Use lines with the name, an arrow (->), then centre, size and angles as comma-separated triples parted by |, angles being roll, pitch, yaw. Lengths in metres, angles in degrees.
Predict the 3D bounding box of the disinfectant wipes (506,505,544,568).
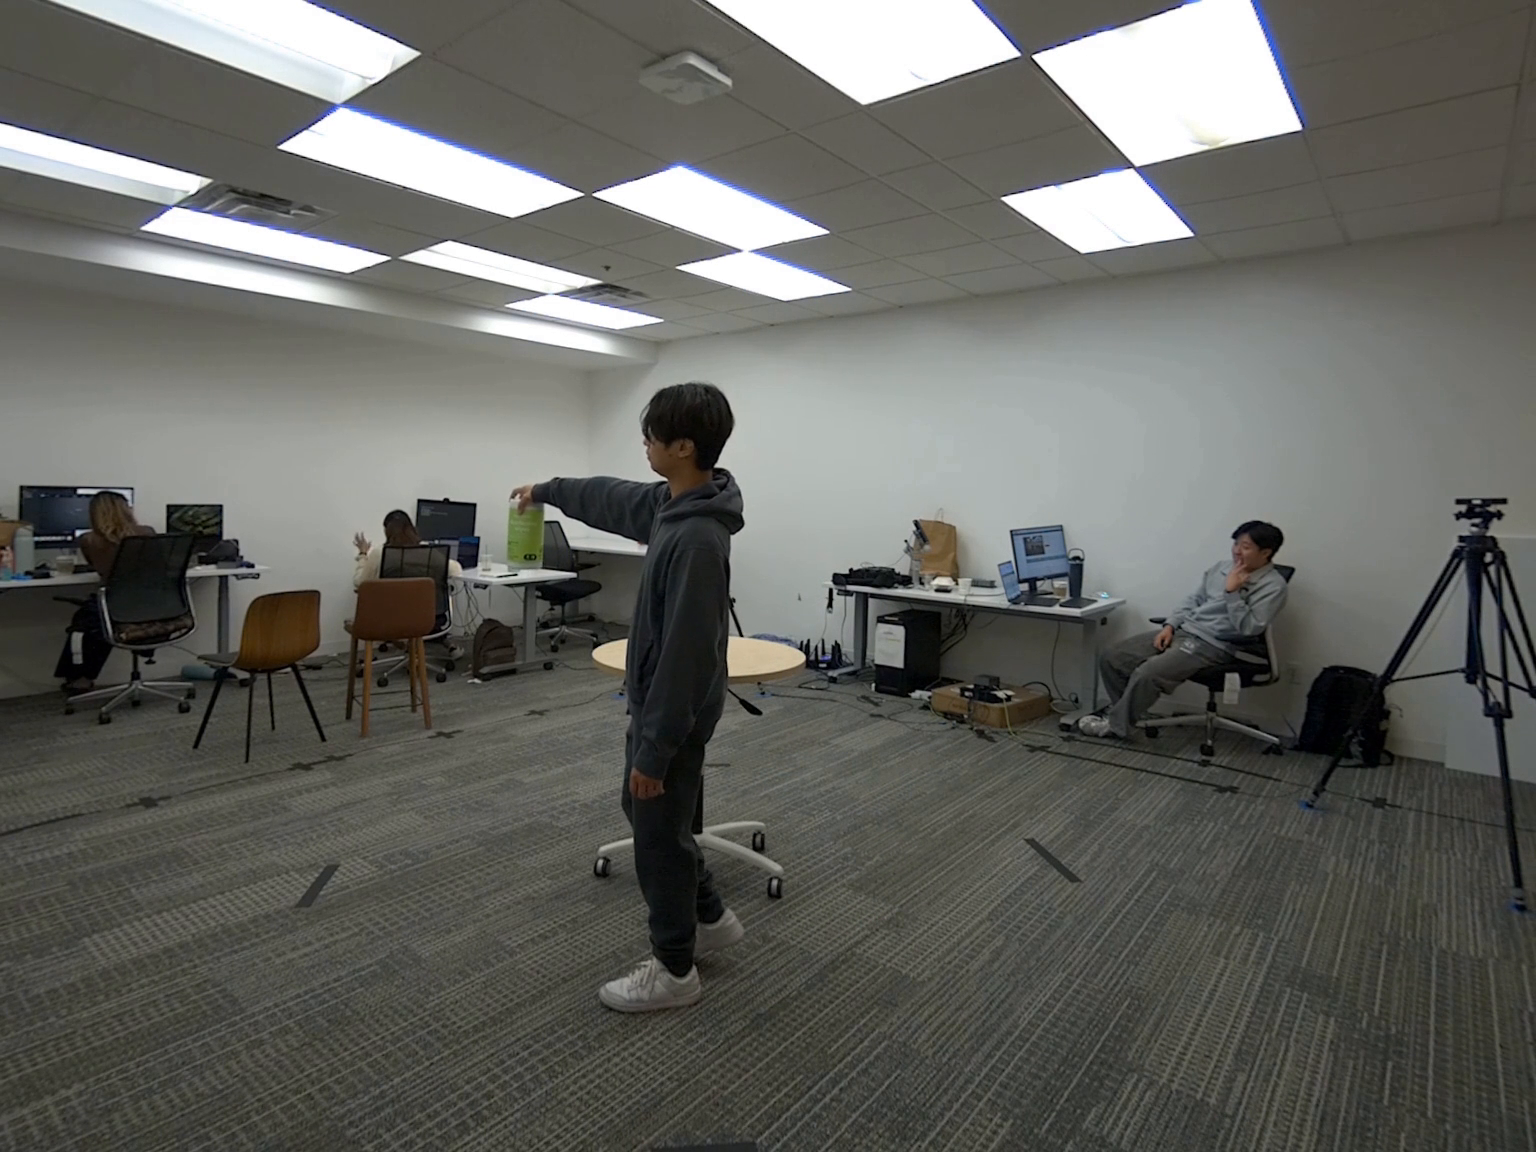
disinfectant wipes -> -0.773, -0.135, 2.672 | 0.118, 0.217, 0.118 | 2, 1, -2
